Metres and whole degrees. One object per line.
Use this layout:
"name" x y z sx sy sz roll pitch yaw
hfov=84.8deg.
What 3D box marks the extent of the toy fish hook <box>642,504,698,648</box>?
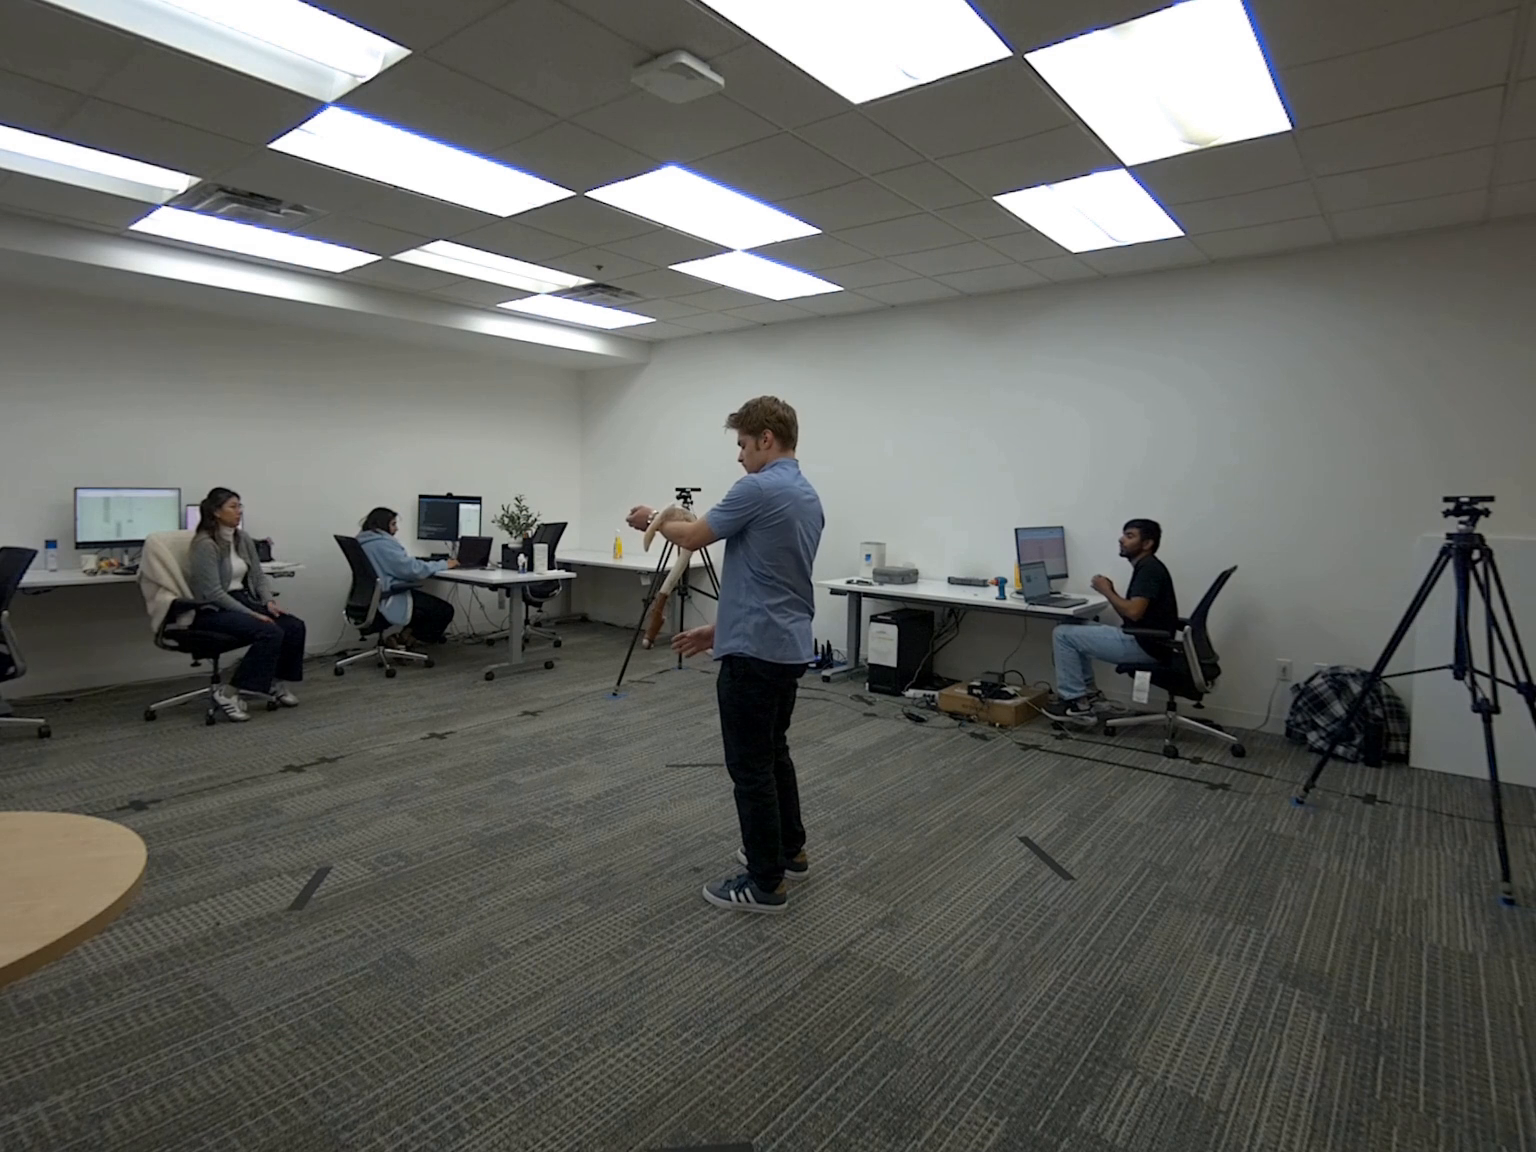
"toy fish hook" -0.396 -0.003 2.965 0.216 0.508 0.050 22 -8 -36
